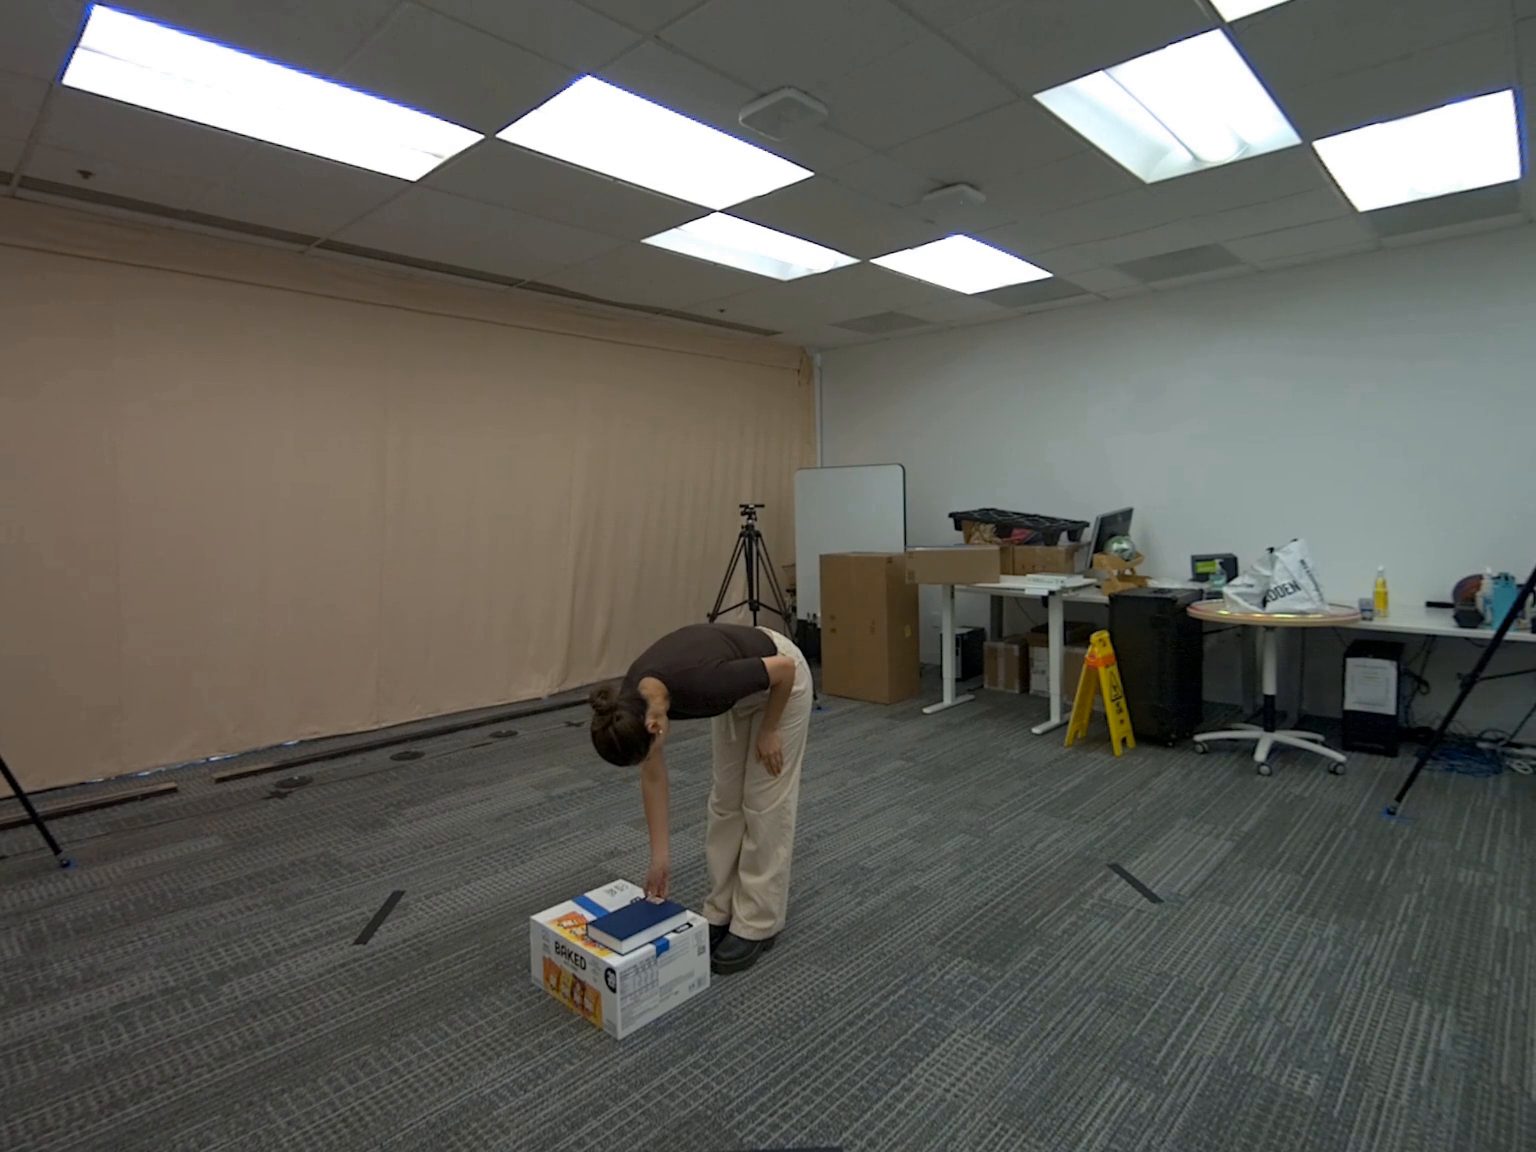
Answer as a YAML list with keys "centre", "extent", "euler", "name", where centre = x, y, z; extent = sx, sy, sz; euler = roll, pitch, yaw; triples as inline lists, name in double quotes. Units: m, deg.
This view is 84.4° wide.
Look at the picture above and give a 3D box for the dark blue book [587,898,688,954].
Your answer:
- centre: [-0.363, 0.981, 2.370]
  extent: [0.168, 0.045, 0.238]
  euler: [-1, 3, 44]
  name: "dark blue book"
